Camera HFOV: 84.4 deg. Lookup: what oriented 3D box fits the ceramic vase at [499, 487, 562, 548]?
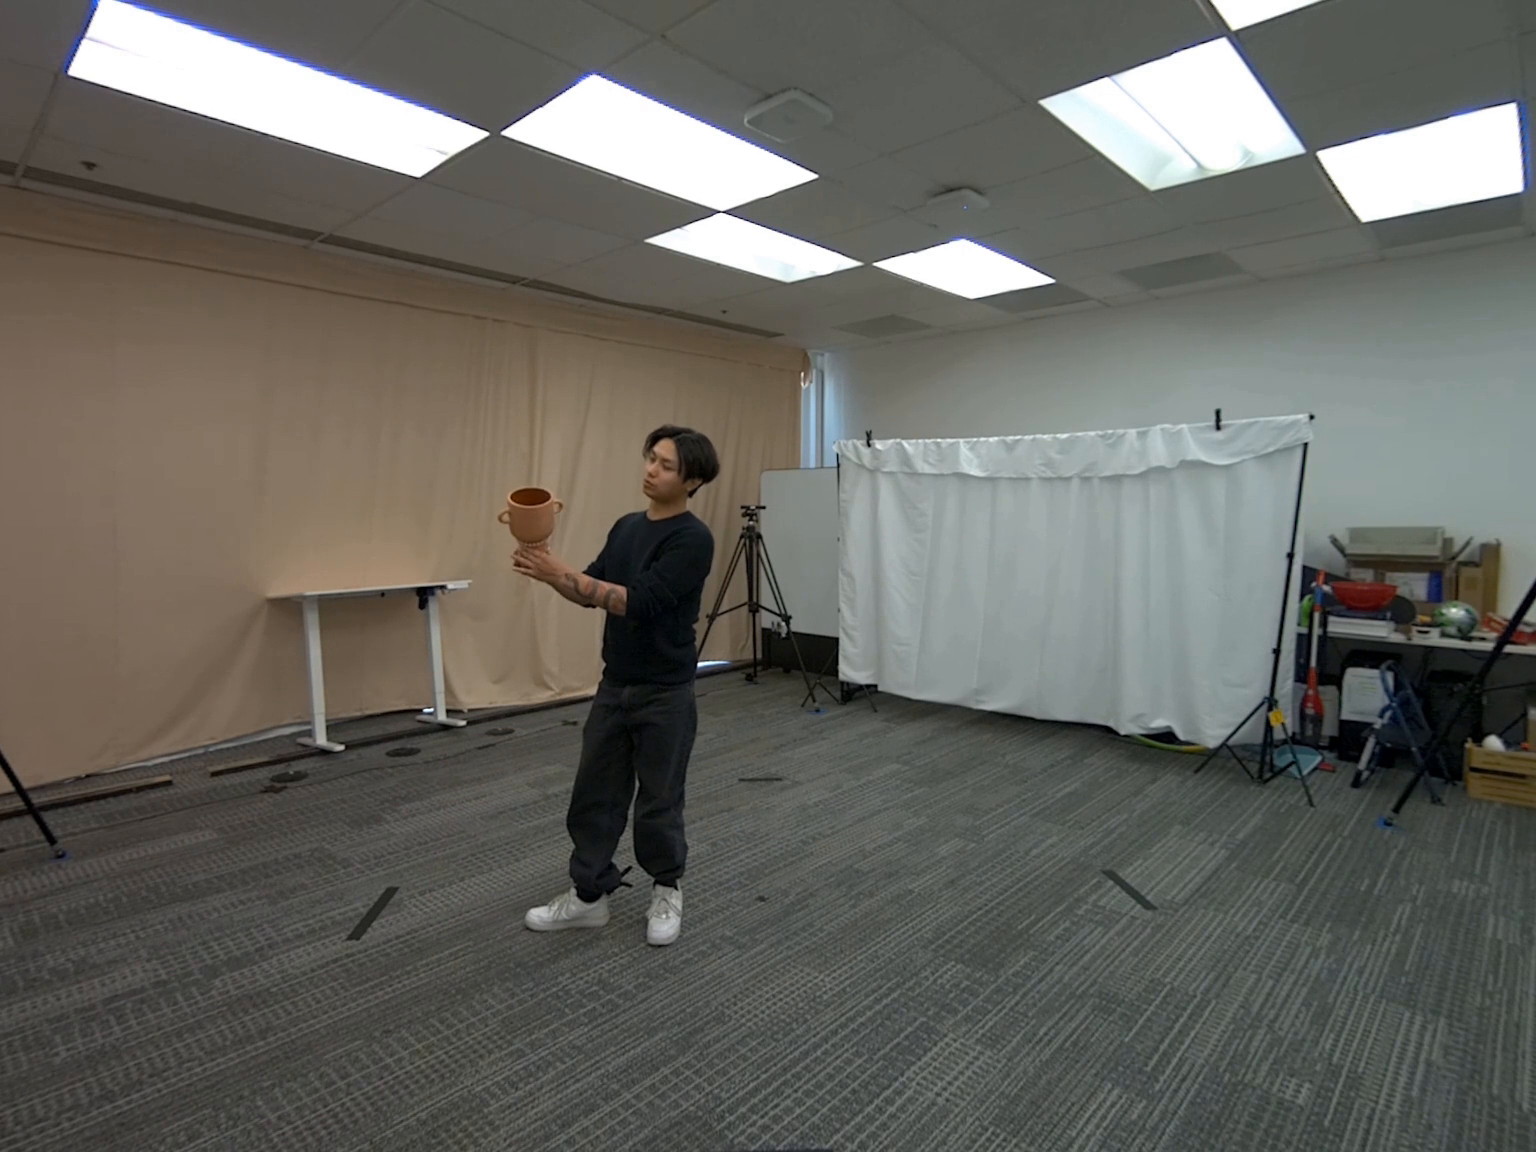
[{"bbox_3d":[-0.713,-0.138,2.508,0.160,0.217,0.135,8,31,5],"label":"ceramic vase"}]
